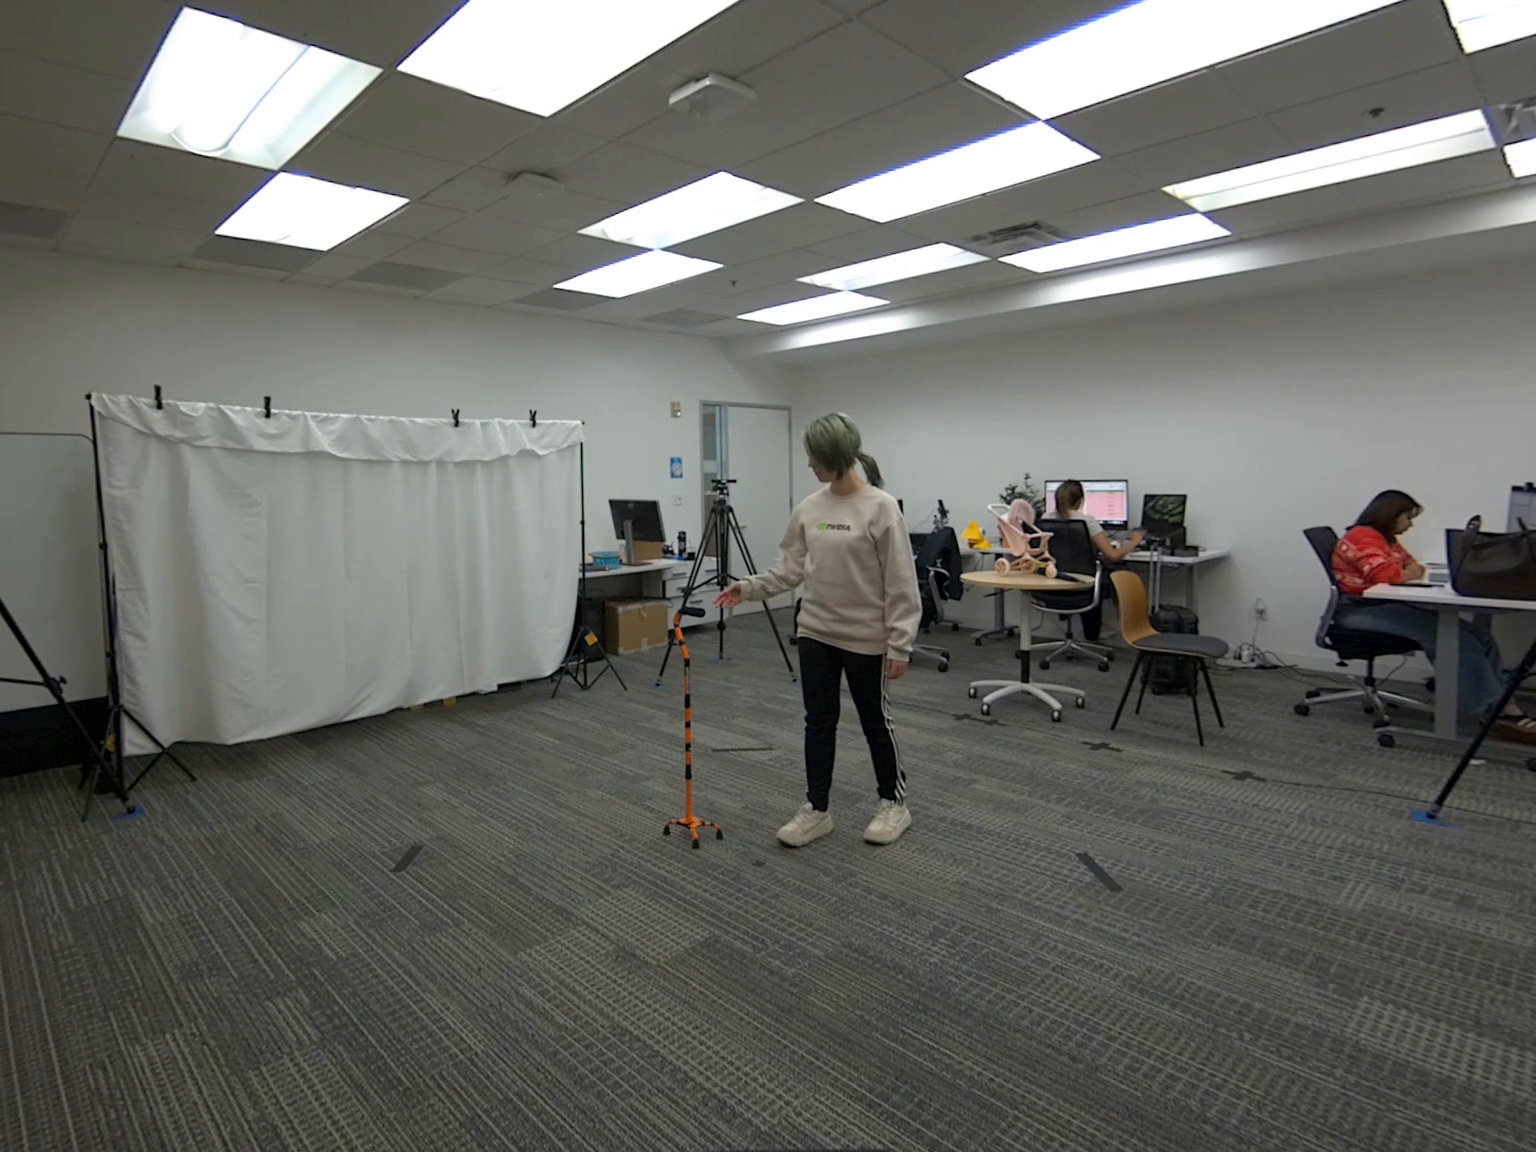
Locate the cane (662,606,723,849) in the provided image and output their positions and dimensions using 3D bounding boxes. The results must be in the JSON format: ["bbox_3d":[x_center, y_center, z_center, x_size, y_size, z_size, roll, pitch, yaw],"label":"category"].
[{"bbox_3d":[-0.306,0.574,3.325,0.148,0.904,0.213,-6,6,-42],"label":"cane"}]
